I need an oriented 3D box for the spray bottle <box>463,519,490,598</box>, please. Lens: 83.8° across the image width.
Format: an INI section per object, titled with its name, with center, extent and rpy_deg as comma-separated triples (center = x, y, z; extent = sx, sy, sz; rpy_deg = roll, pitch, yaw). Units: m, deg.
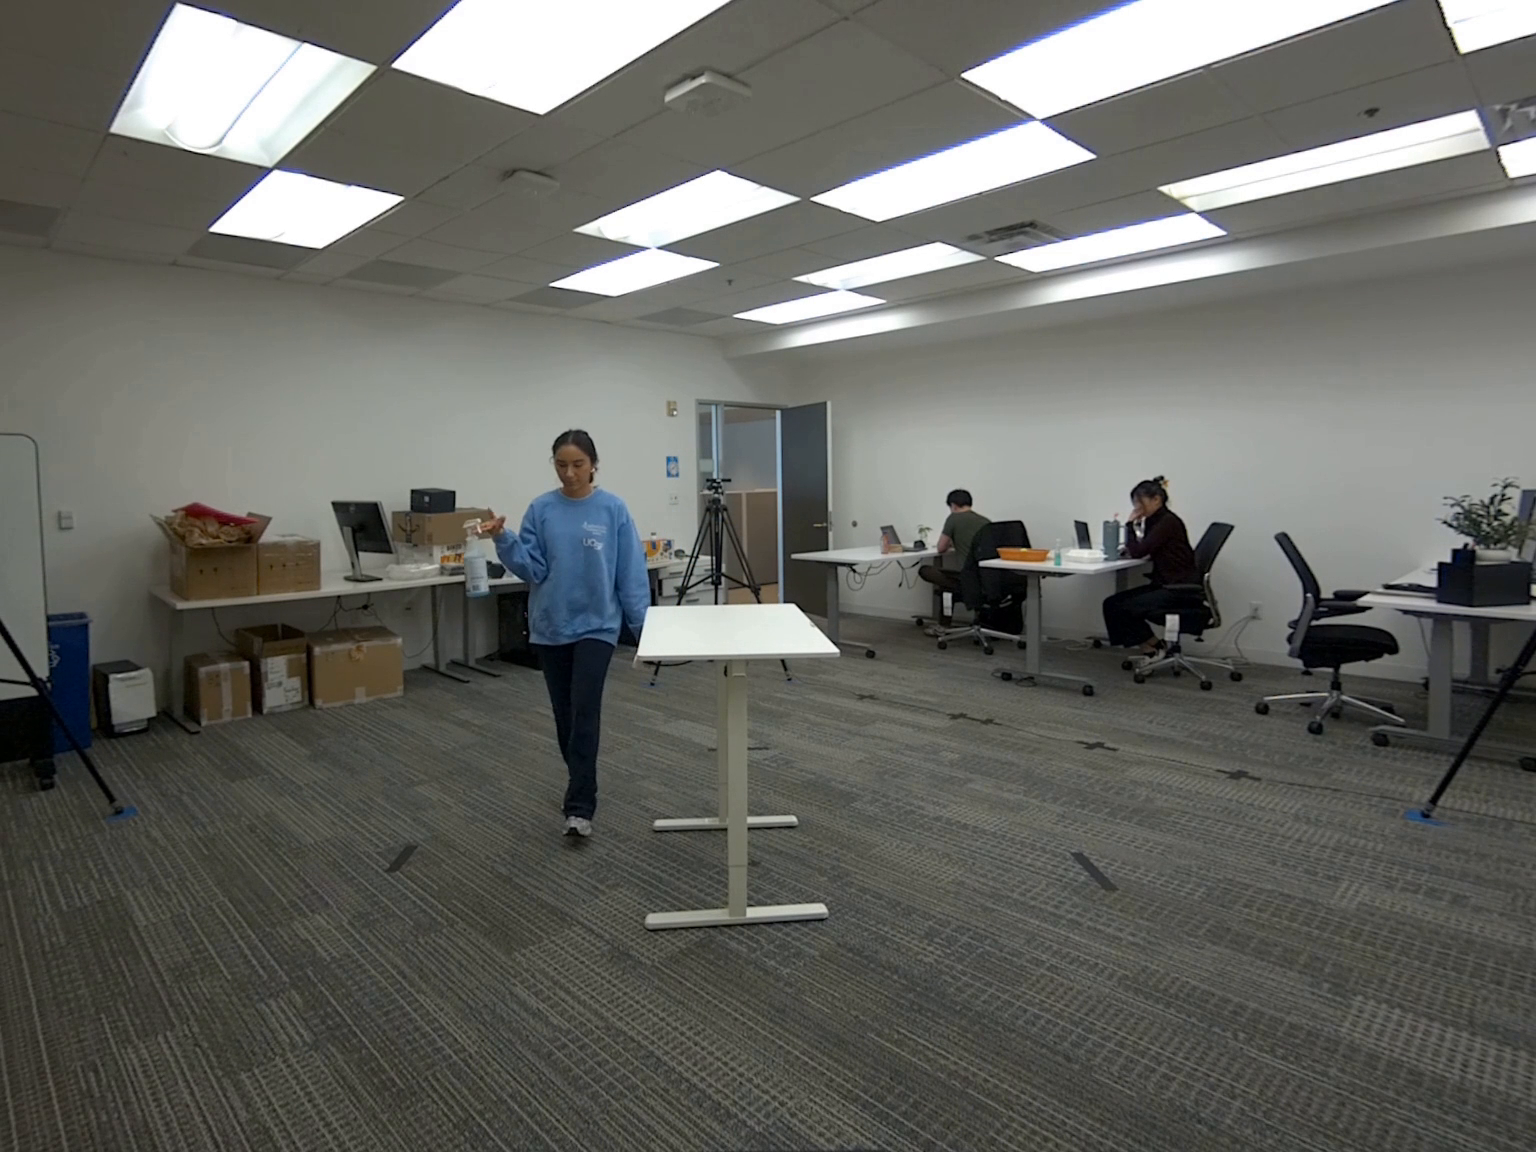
[spray bottle]
center = -1.133, -0.071, 3.311
extent = 0.085, 0.296, 0.093
rpy_deg = -8, 7, -35
